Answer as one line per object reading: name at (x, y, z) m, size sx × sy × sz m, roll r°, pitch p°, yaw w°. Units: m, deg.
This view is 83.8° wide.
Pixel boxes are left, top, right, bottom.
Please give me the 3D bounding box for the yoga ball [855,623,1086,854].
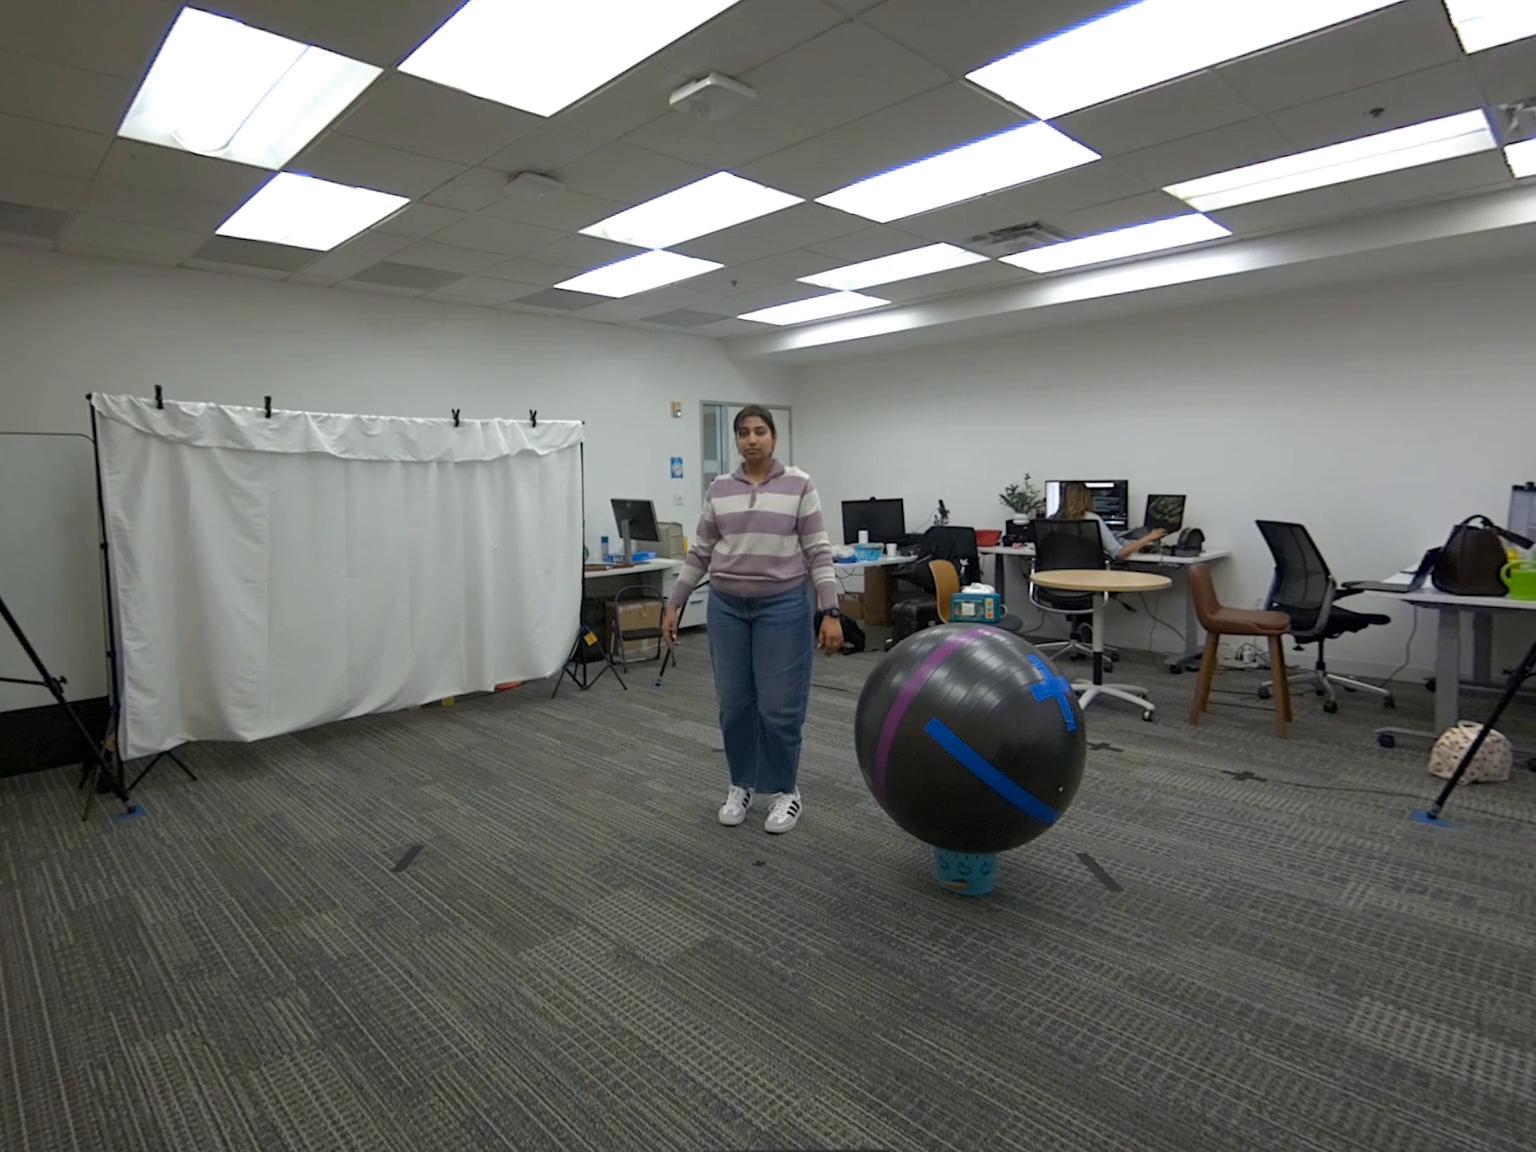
yoga ball at (0.684, 0.546, 2.909) m, size 0.757 × 0.755 × 0.762 m, roll -1°, pitch 5°, yaw -2°
